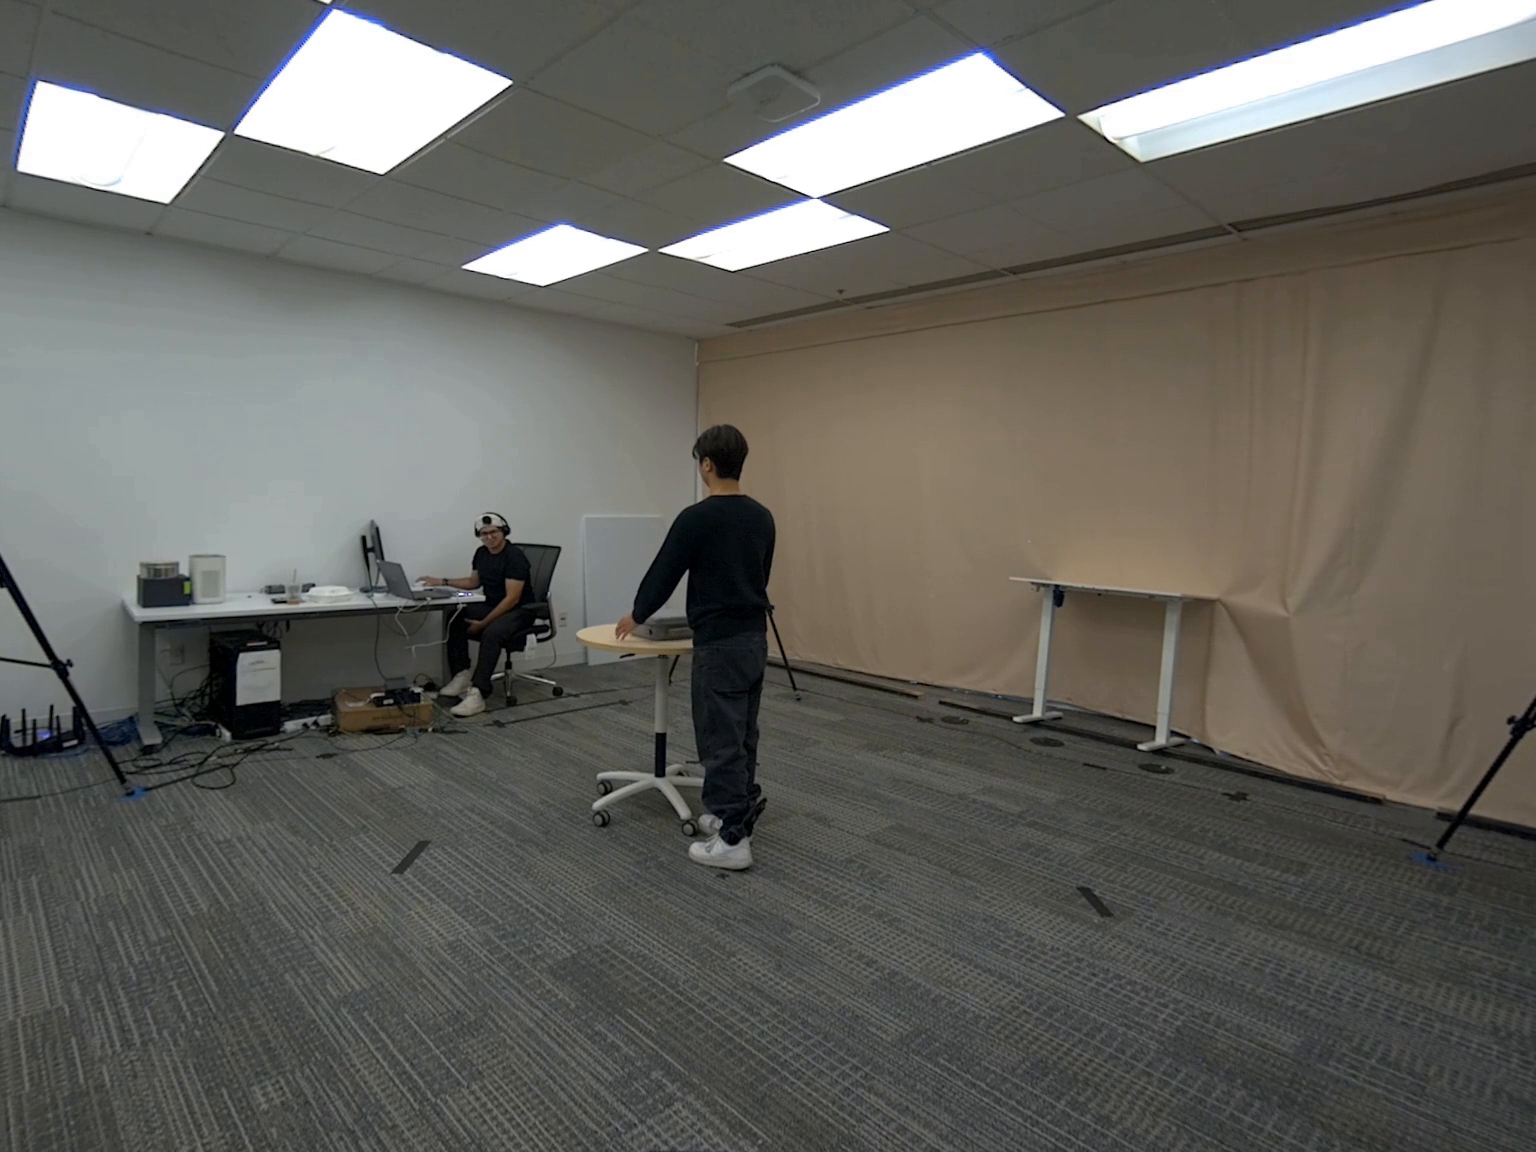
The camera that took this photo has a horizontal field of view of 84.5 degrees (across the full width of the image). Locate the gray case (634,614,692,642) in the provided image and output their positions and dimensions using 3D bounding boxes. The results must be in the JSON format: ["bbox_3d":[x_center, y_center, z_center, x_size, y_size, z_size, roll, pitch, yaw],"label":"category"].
[{"bbox_3d":[-0.463,0.212,3.694,0.267,0.104,0.251,6,4,43],"label":"gray case"}]
